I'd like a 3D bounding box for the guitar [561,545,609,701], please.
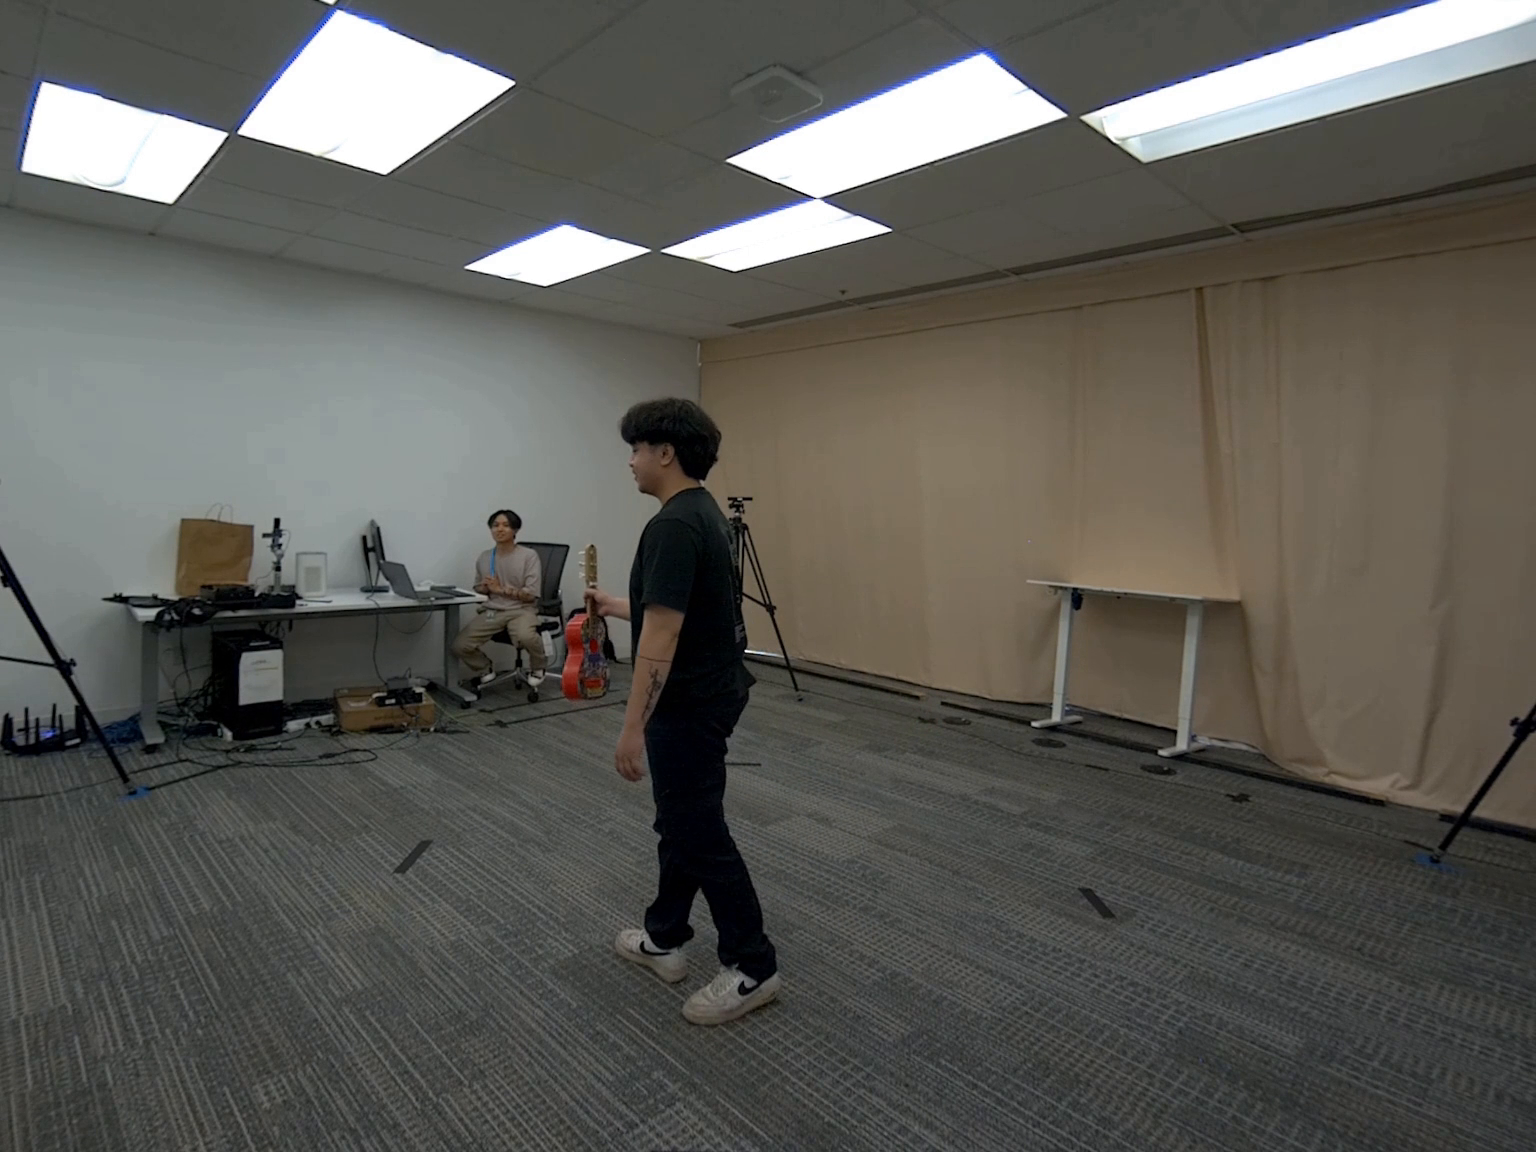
[{"bbox_3d":[-0.584,0.159,2.744,0.072,0.502,0.188,-5,-13,20],"label":"guitar"}]
